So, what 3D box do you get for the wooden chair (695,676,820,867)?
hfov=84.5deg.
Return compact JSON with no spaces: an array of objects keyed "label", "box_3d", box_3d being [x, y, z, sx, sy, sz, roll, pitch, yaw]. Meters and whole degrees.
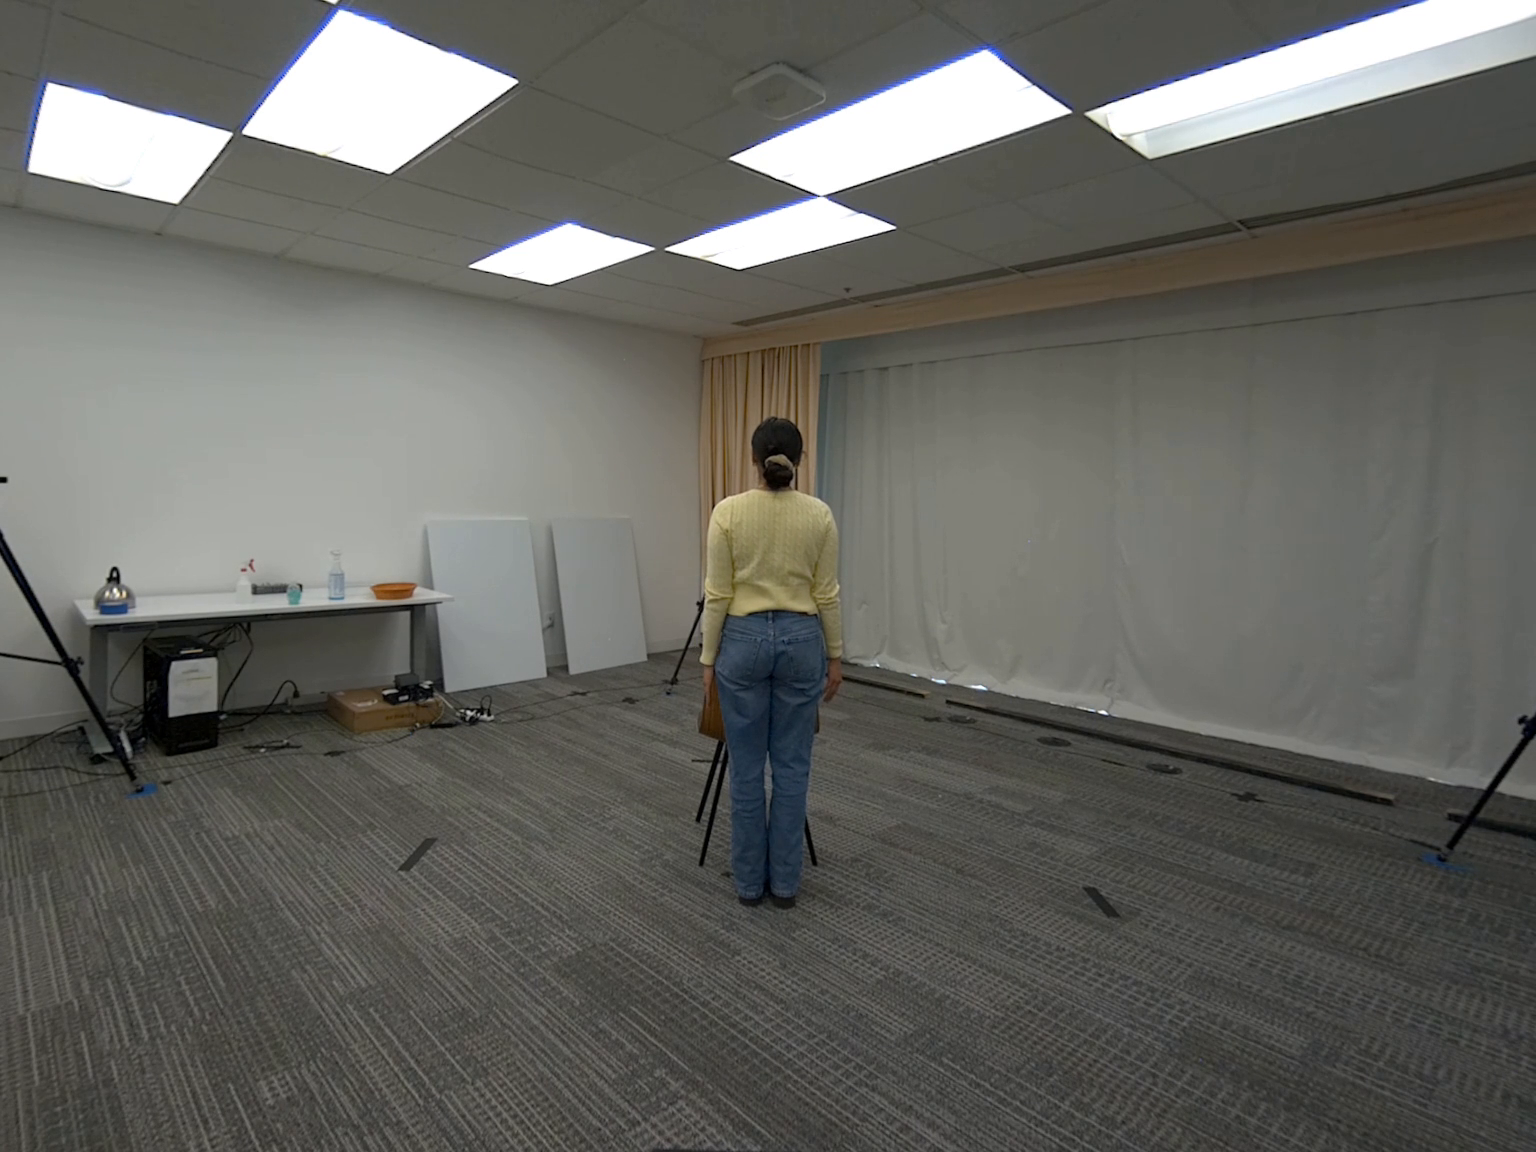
[{"label":"wooden chair","box_3d":[-0.053,0.654,3.383,0.476,0.873,0.528,0,7,-6]}]
